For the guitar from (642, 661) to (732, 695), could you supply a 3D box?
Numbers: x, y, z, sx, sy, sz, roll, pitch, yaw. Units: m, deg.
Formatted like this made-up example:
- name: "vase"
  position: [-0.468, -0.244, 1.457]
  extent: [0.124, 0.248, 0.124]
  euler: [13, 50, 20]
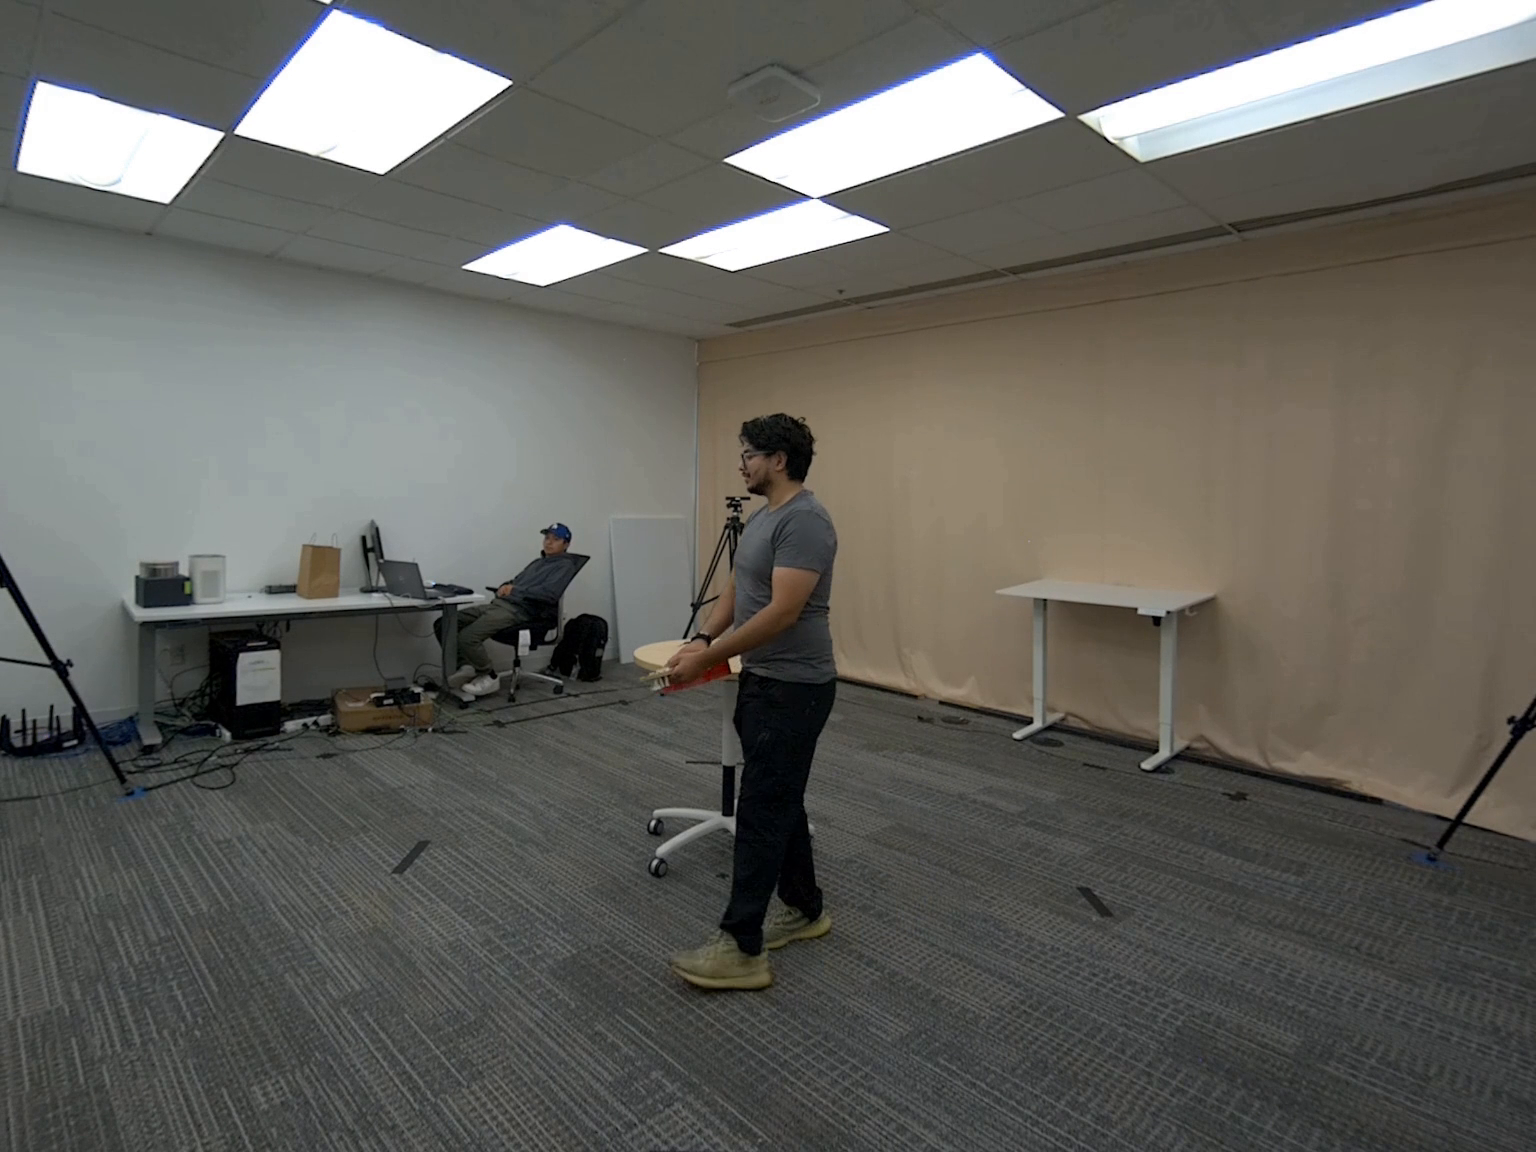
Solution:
- name: "guitar"
  position: [-0.289, 0.302, 2.465]
  extent: [0.195, 0.071, 0.489]
  euler: [-13, -4, 24]
